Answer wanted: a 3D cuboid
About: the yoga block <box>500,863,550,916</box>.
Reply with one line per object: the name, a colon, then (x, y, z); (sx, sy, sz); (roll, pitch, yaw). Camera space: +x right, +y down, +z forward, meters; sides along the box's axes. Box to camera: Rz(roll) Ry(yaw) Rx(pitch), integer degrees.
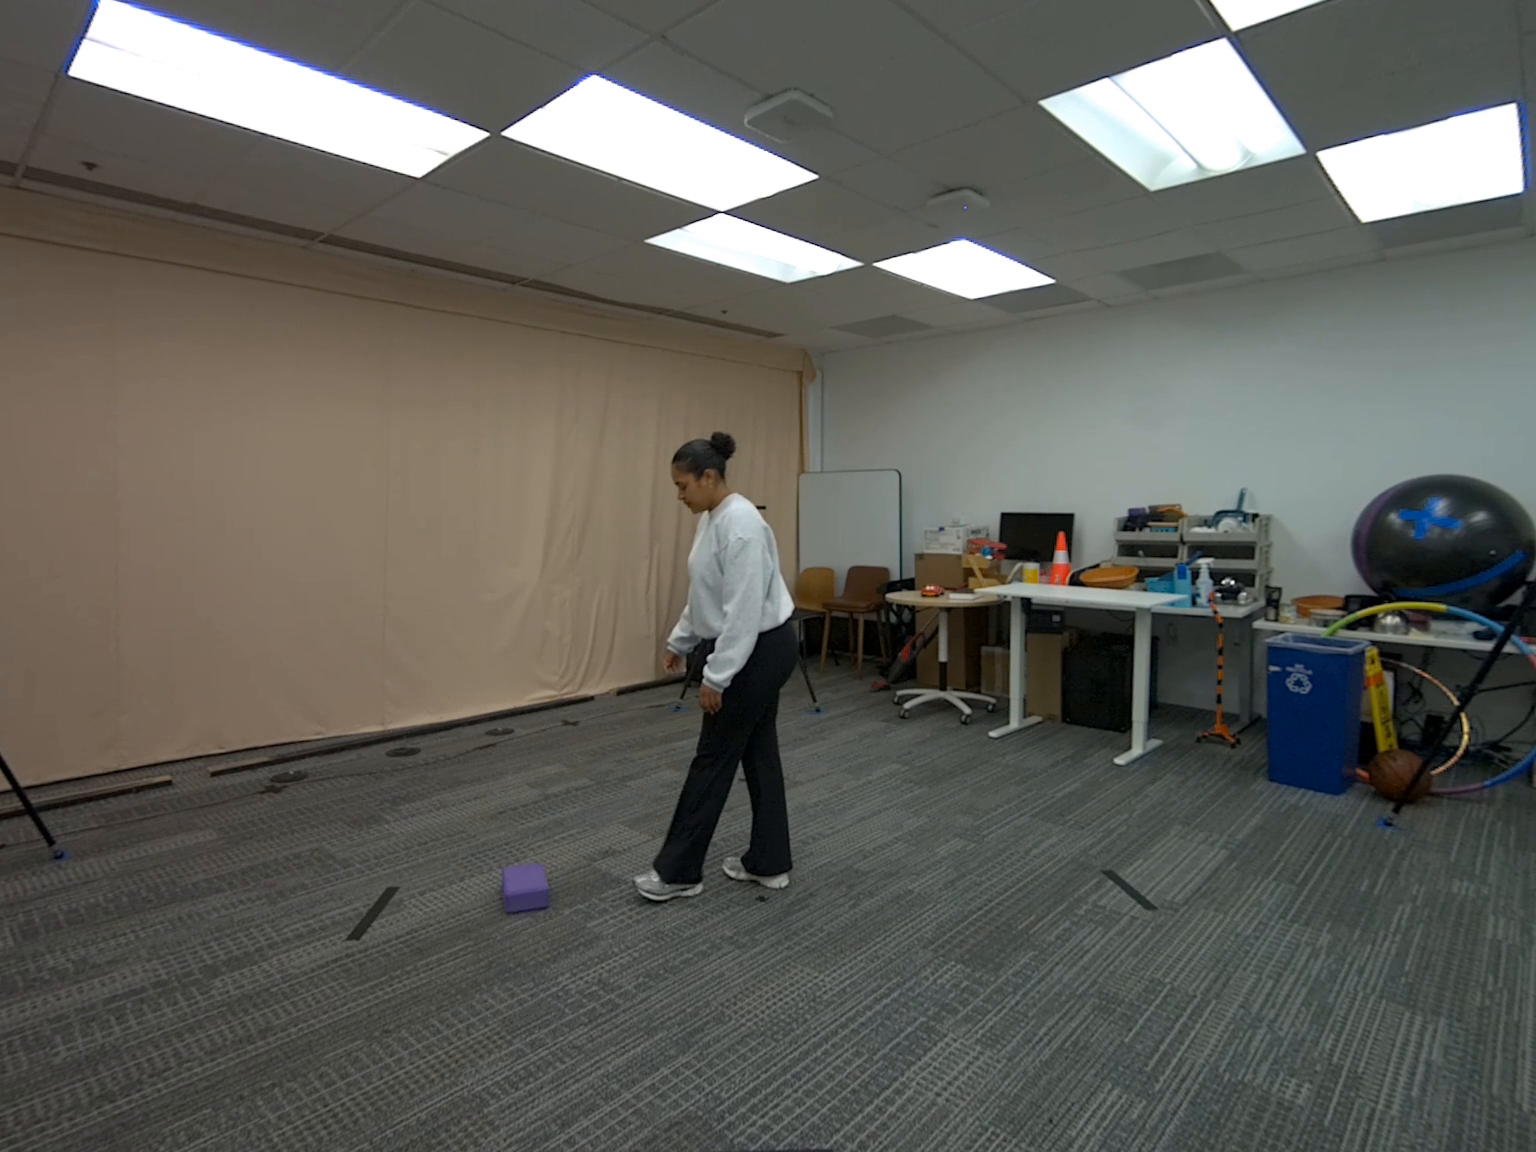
yoga block: (-0.868, 1.112, 3.008); (0.146, 0.076, 0.234); (-2, 6, -19)
